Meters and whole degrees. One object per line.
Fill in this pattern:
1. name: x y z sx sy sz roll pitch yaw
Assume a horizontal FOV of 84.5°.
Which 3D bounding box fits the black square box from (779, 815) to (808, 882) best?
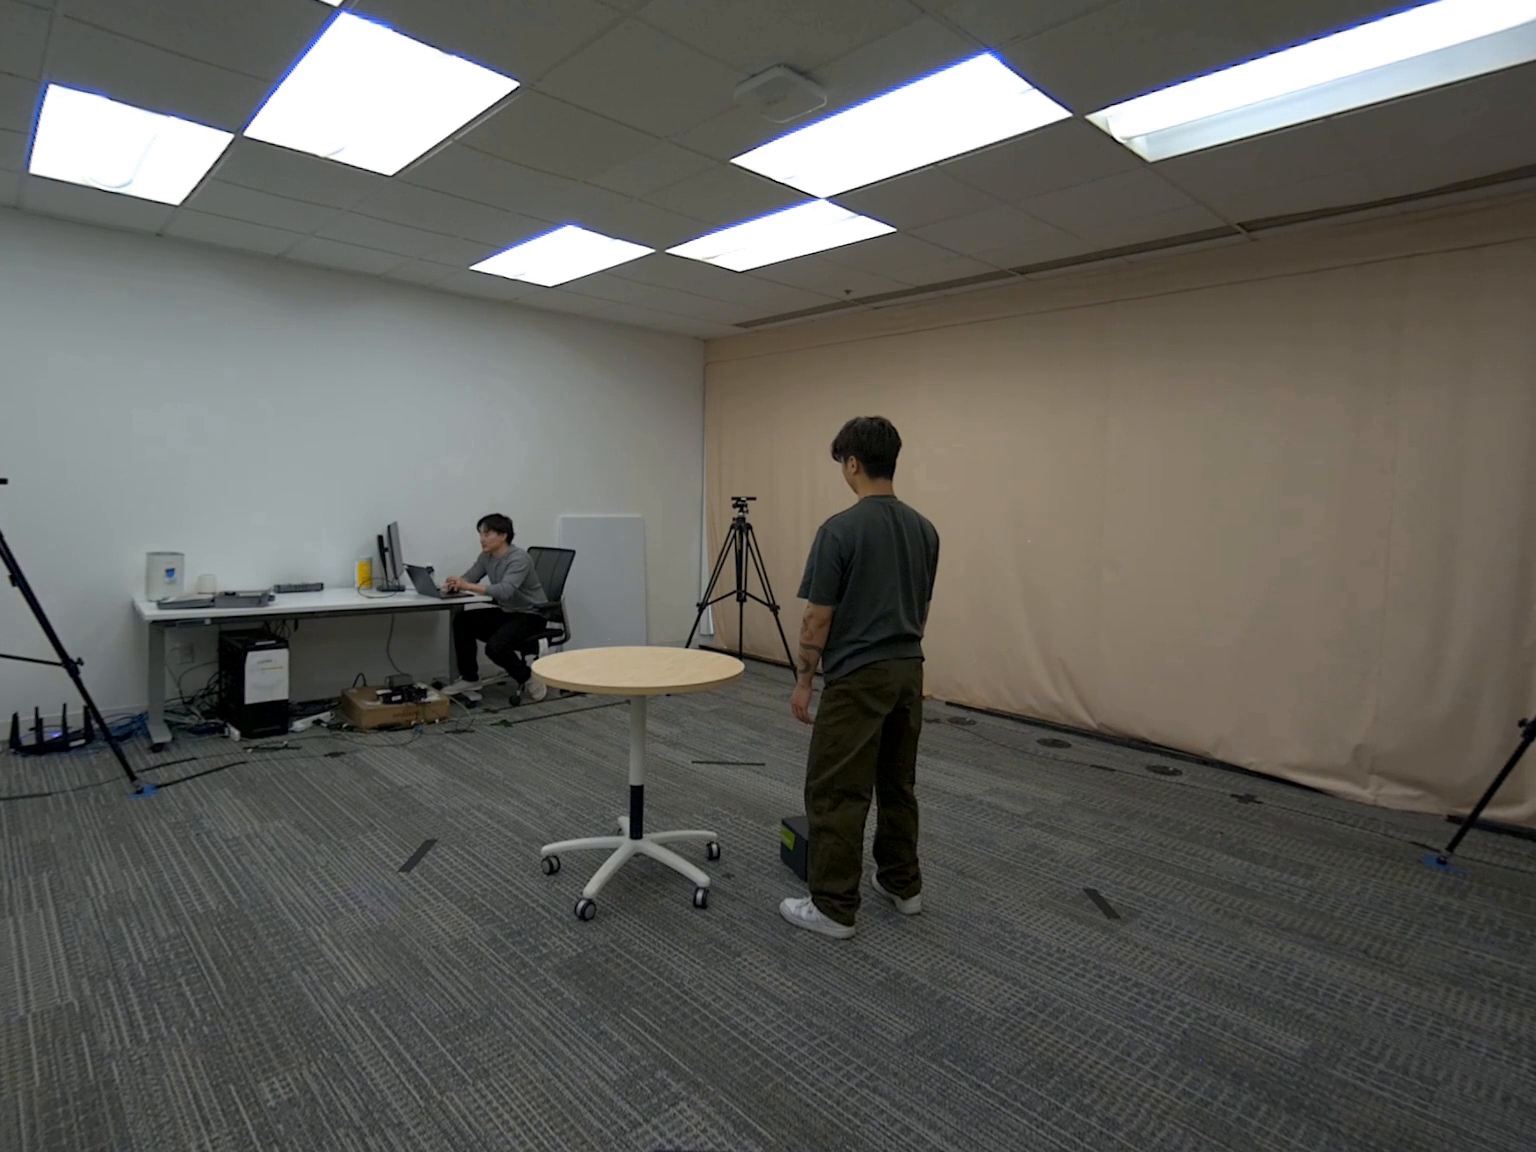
1. black square box: 0.184 1.023 3.200 0.213 0.155 0.232 -1 4 -23
